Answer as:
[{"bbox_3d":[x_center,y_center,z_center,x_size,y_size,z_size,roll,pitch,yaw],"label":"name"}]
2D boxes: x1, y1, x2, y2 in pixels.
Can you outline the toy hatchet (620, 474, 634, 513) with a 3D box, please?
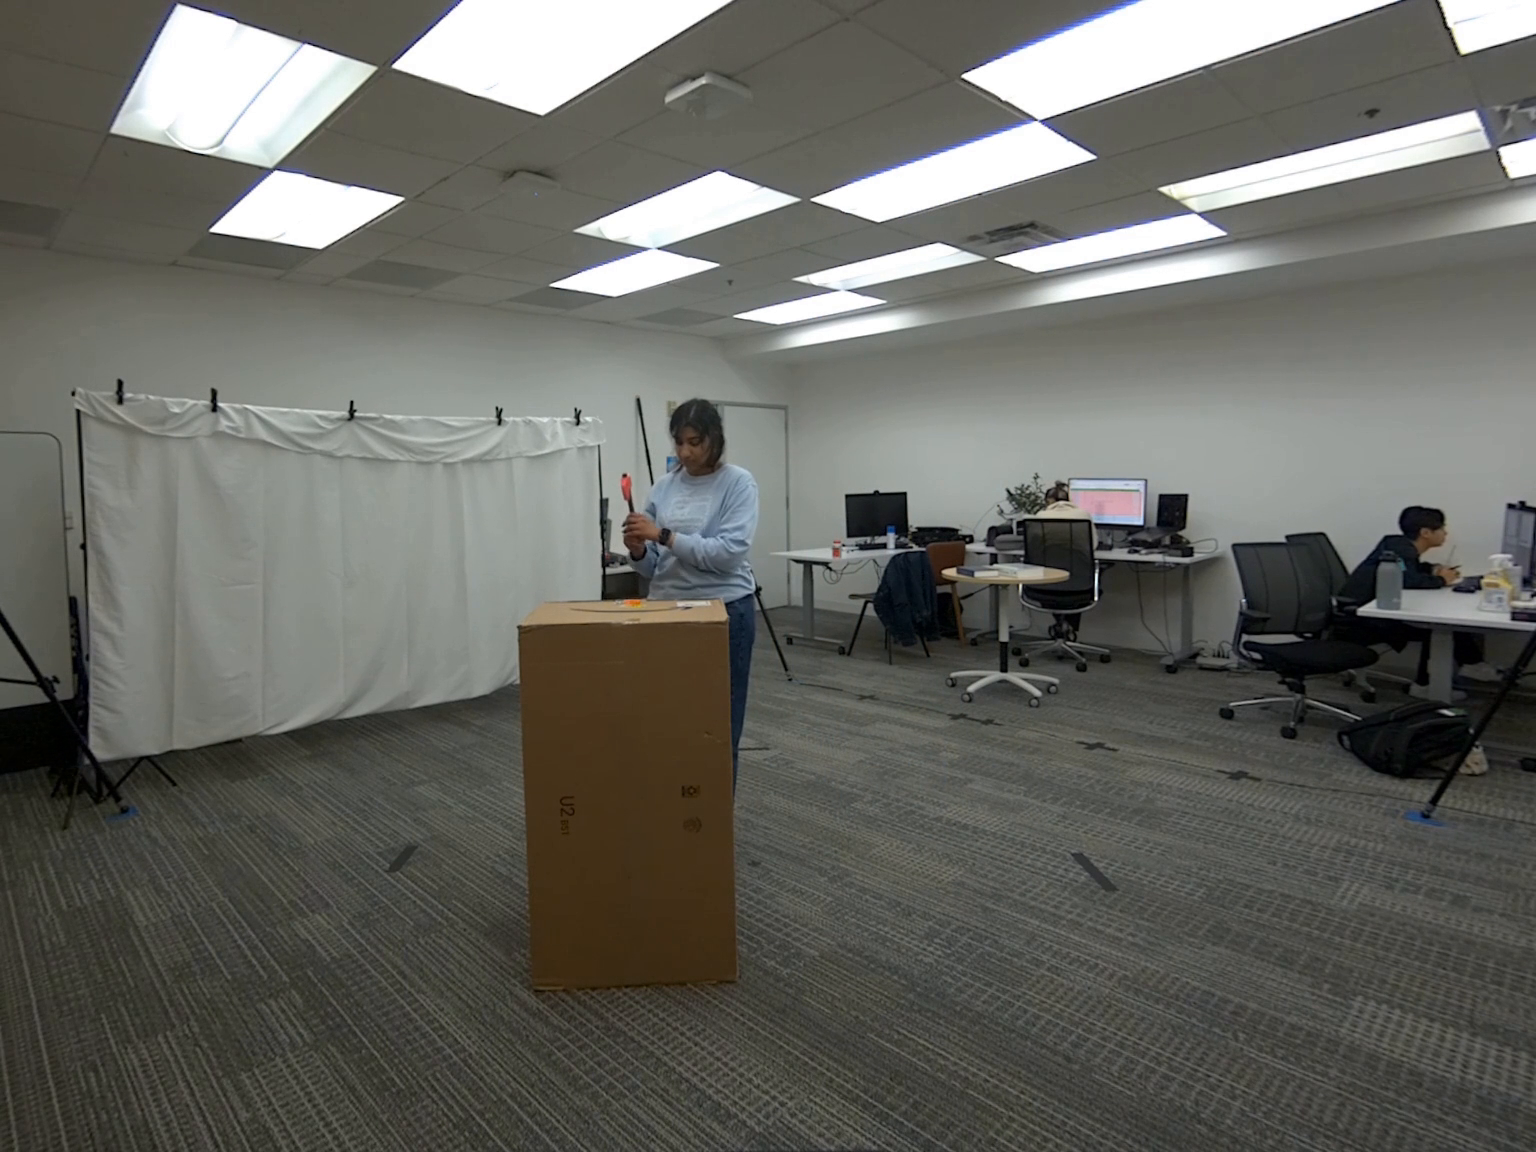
[{"bbox_3d":[-0.475,-0.219,2.941,0.030,0.269,0.131,-6,6,2],"label":"toy hatchet"}]
